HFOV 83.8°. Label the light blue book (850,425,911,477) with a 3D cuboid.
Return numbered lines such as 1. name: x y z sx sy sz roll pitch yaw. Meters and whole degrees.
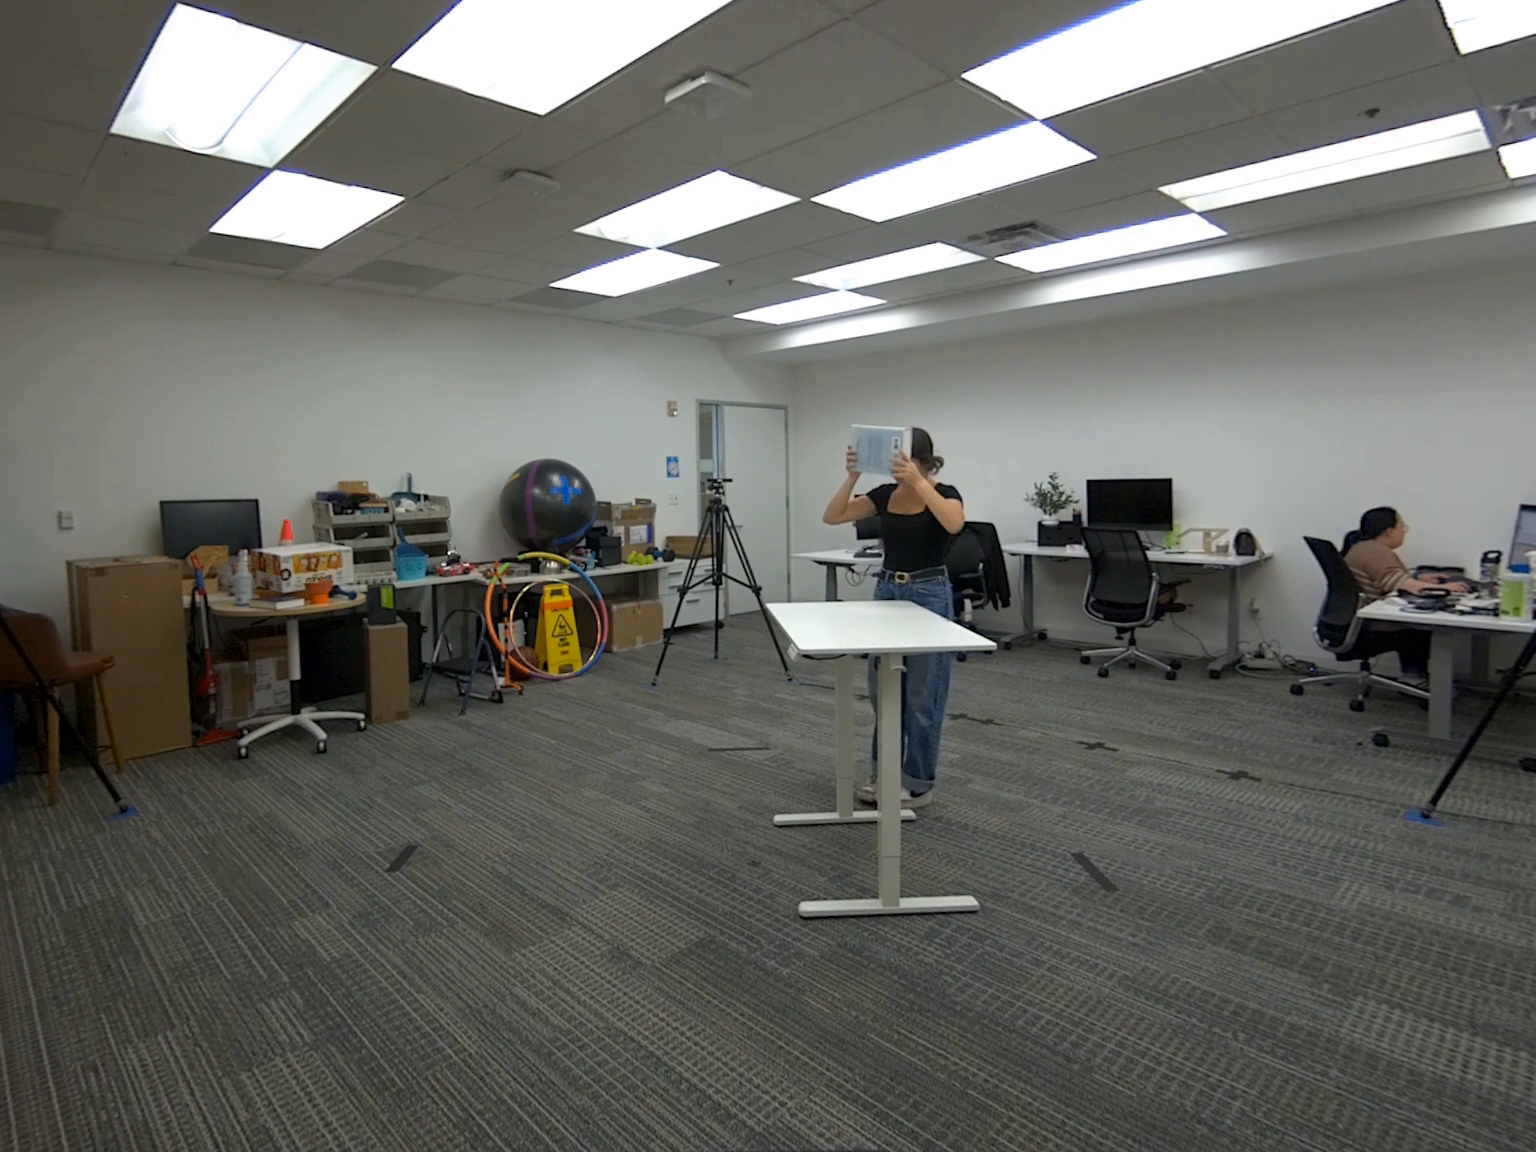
1. light blue book: 0.454 -0.497 3.413 0.058 0.189 0.270 -12 18 -39
